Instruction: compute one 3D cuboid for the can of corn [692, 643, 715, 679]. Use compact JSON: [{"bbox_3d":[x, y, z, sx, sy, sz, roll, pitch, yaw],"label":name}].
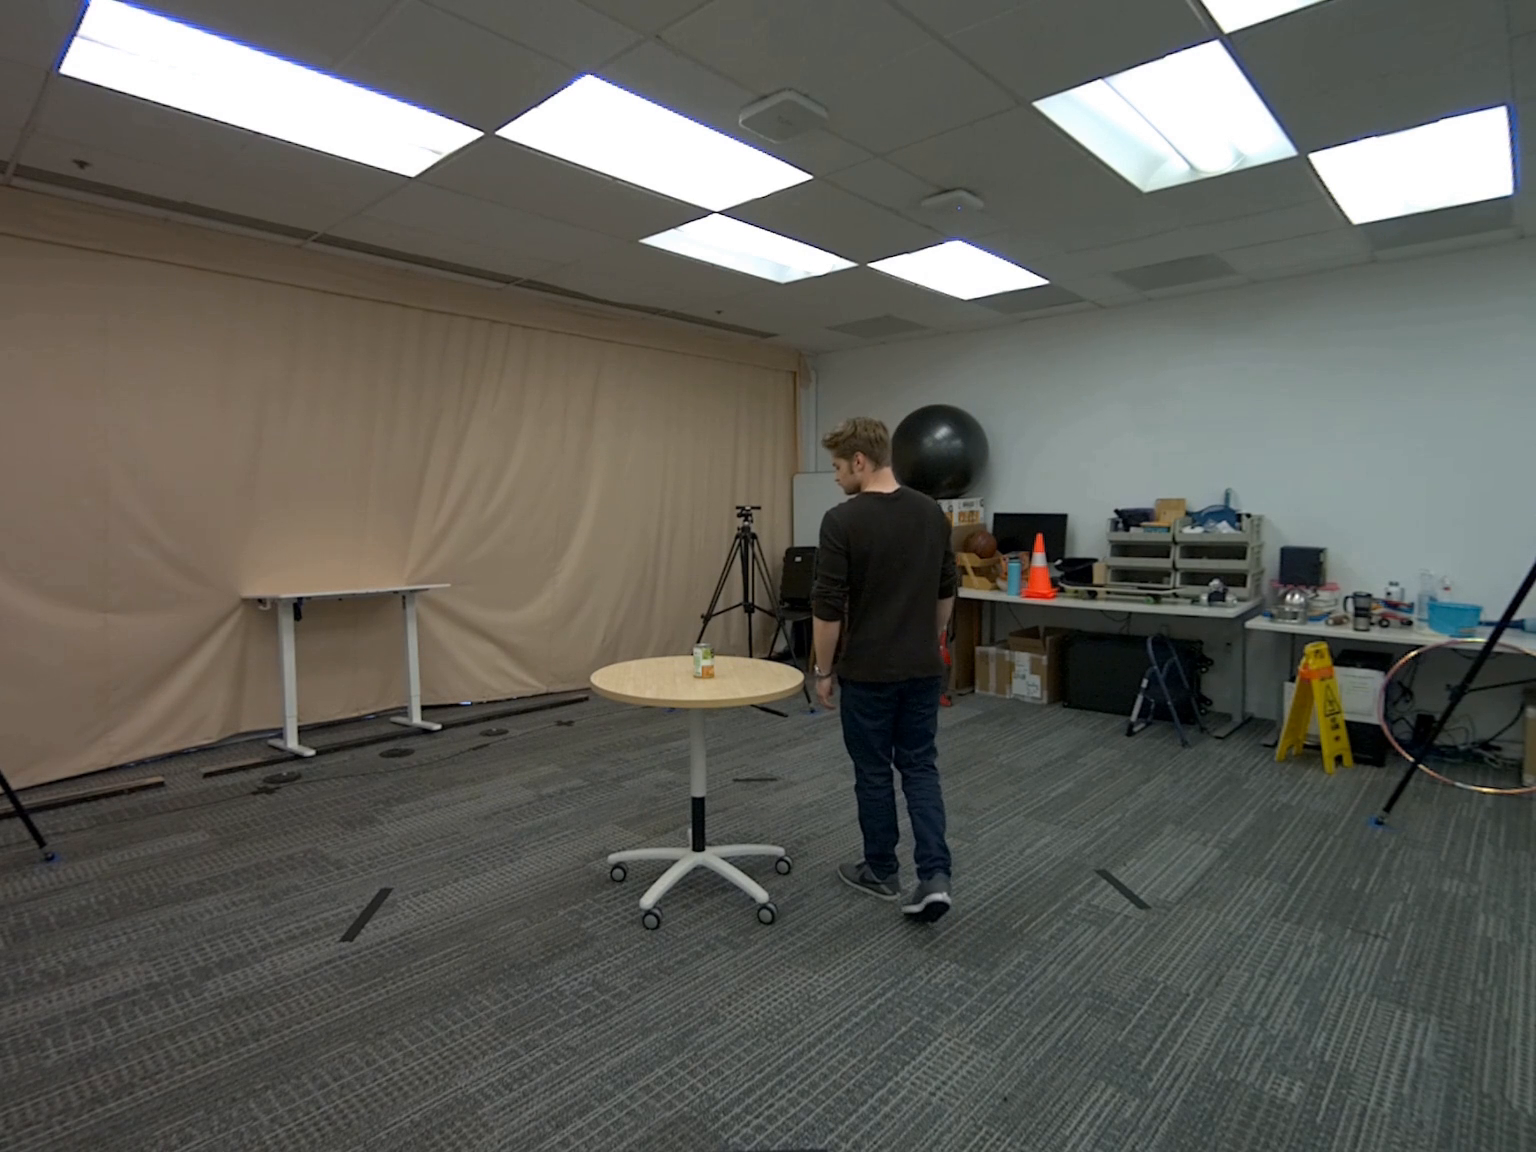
[{"bbox_3d":[-0.228,0.305,3.009,0.074,0.111,0.074,1,2,-2],"label":"can of corn"}]
